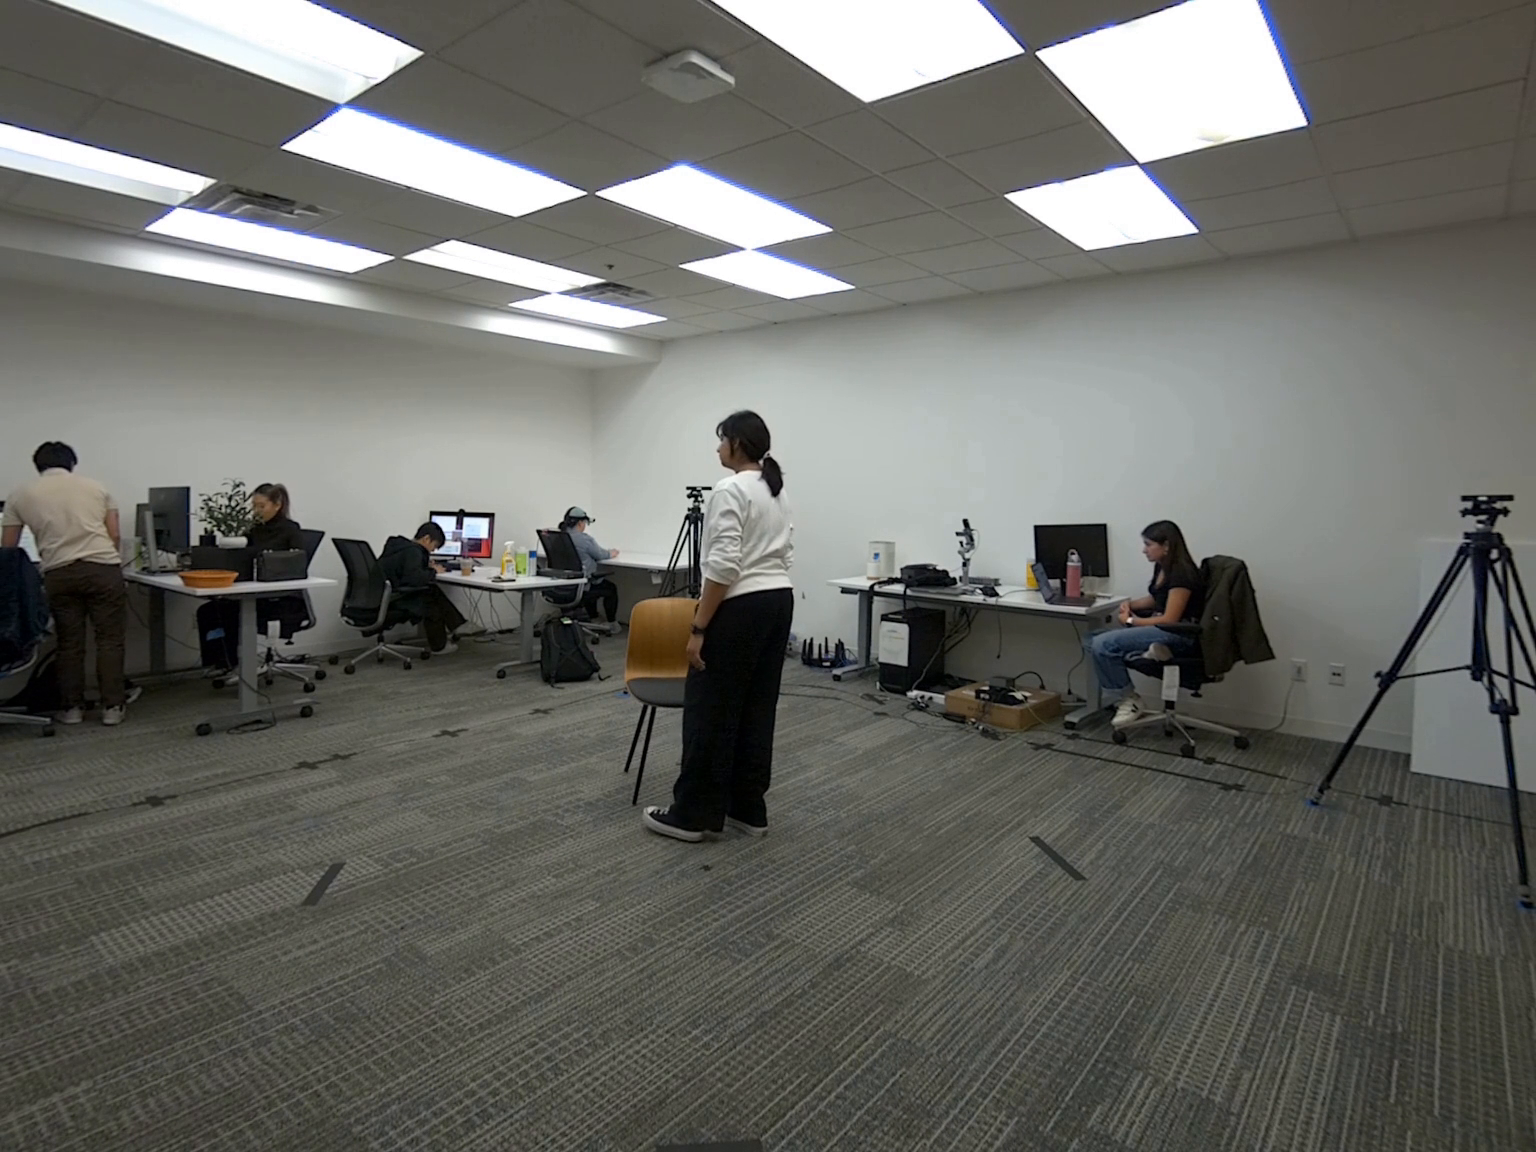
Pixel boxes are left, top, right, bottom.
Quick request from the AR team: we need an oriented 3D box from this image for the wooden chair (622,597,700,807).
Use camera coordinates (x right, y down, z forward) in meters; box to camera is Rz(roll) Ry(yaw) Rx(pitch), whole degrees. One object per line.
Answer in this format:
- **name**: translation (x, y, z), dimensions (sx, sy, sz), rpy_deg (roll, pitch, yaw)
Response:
- **wooden chair**: translation (-0.418, 0.550, 3.941), dimensions (0.472, 0.879, 0.529), rpy_deg (1, -1, -12)
